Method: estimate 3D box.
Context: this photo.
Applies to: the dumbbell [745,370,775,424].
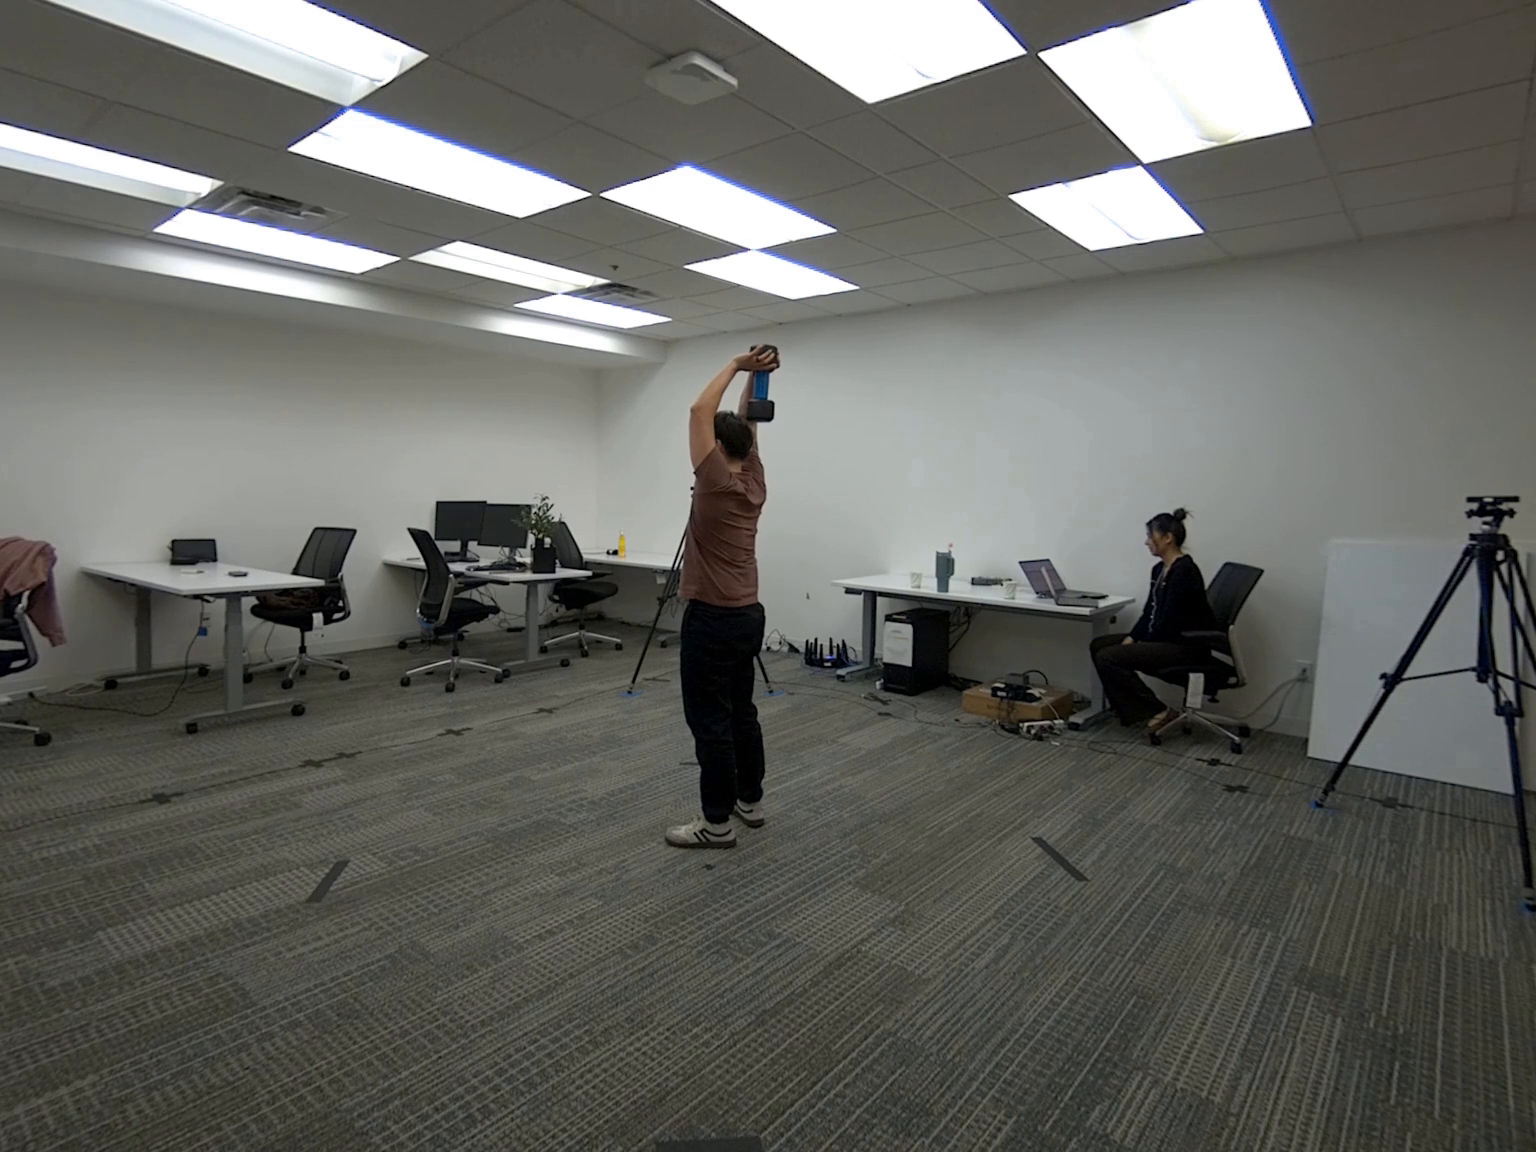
[{"bbox_3d":[-0.035,-0.753,3.327,0.126,0.293,0.105,3,1,30],"label":"dumbbell"}]
